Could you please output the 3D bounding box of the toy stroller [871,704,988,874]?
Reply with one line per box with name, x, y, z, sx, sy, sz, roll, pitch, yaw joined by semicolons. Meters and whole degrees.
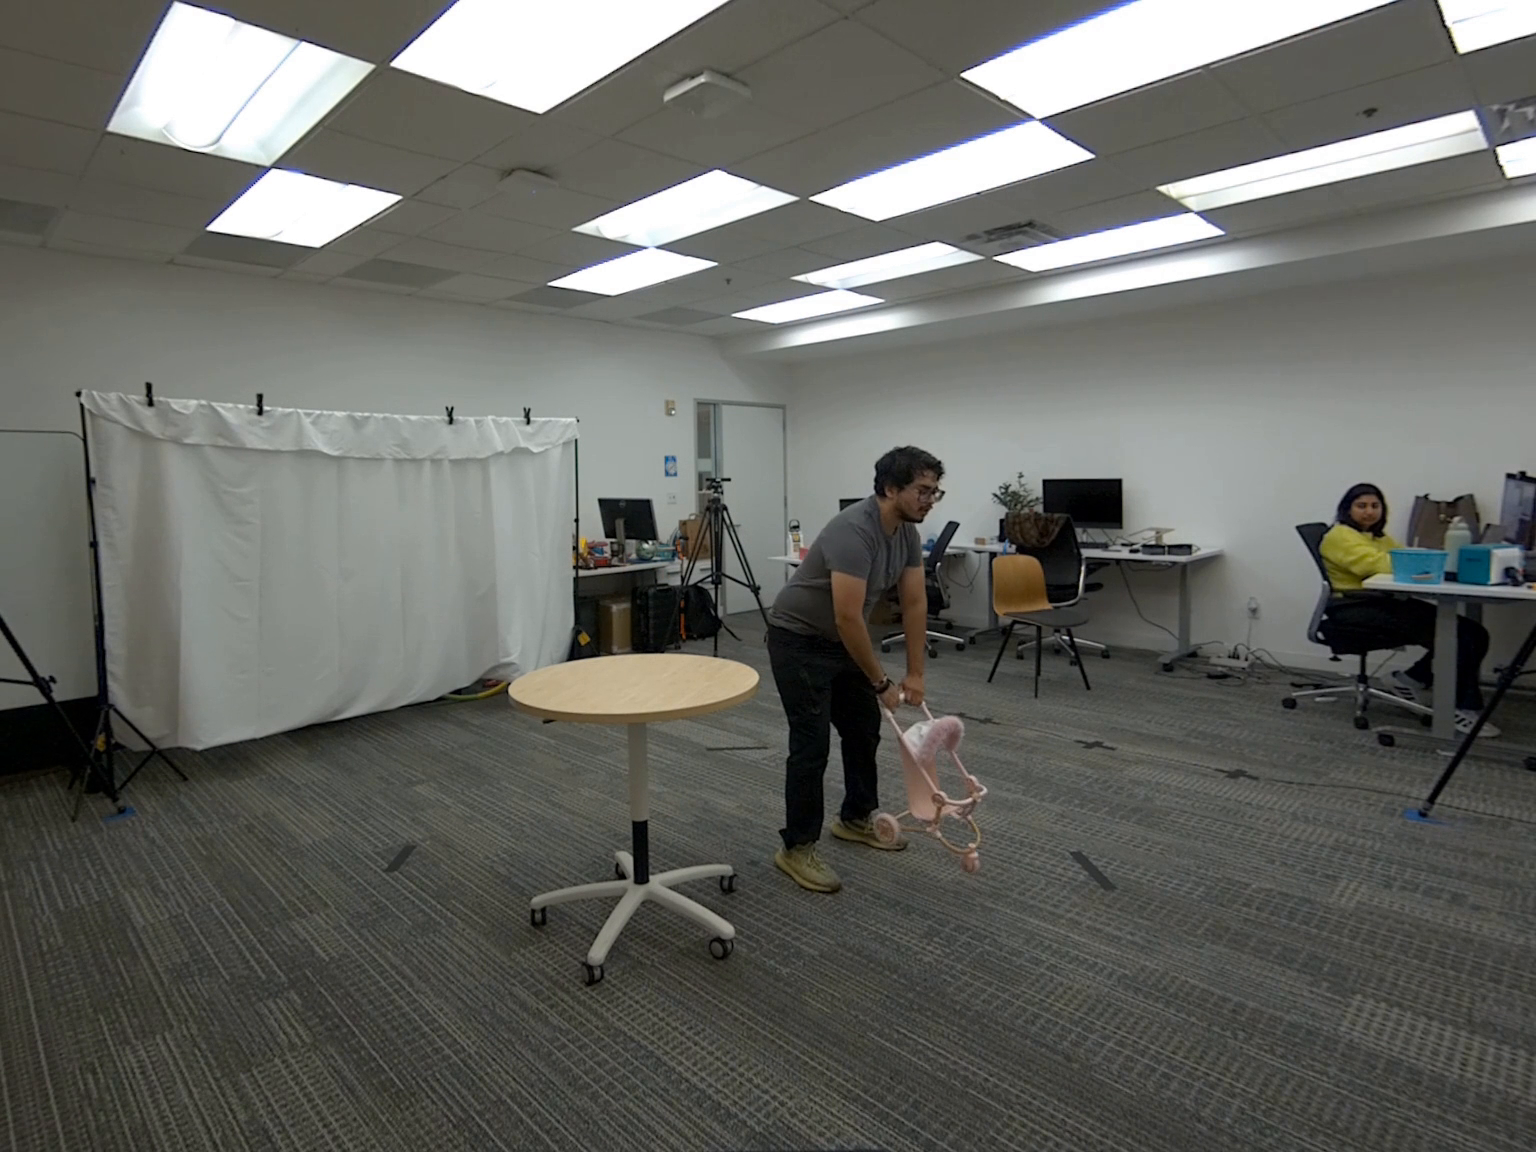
toy stroller;0.556;0.695;2.851;0.274;0.533;0.351;-4;5;-39
